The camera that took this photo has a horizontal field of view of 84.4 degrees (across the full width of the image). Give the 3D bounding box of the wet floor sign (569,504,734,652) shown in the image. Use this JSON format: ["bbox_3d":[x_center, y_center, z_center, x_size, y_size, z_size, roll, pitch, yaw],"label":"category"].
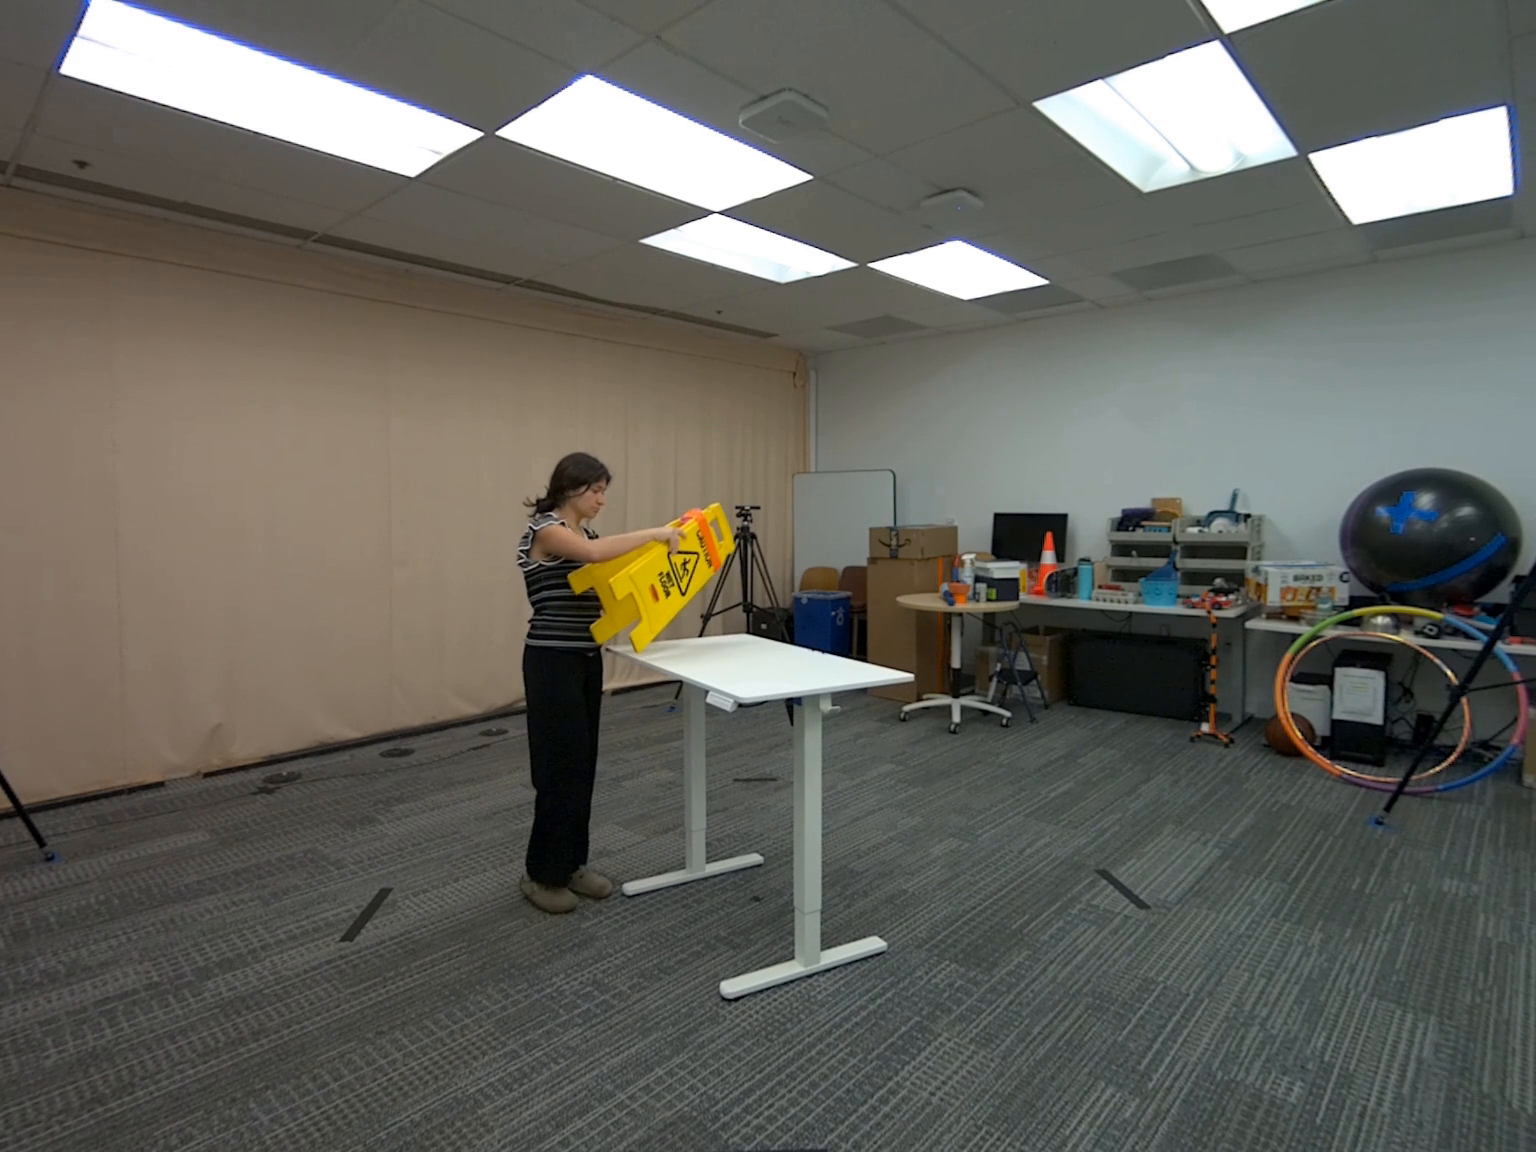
[{"bbox_3d":[-0.359,-0.033,3.012,0.299,0.276,0.637,4,33,44],"label":"wet floor sign"}]
